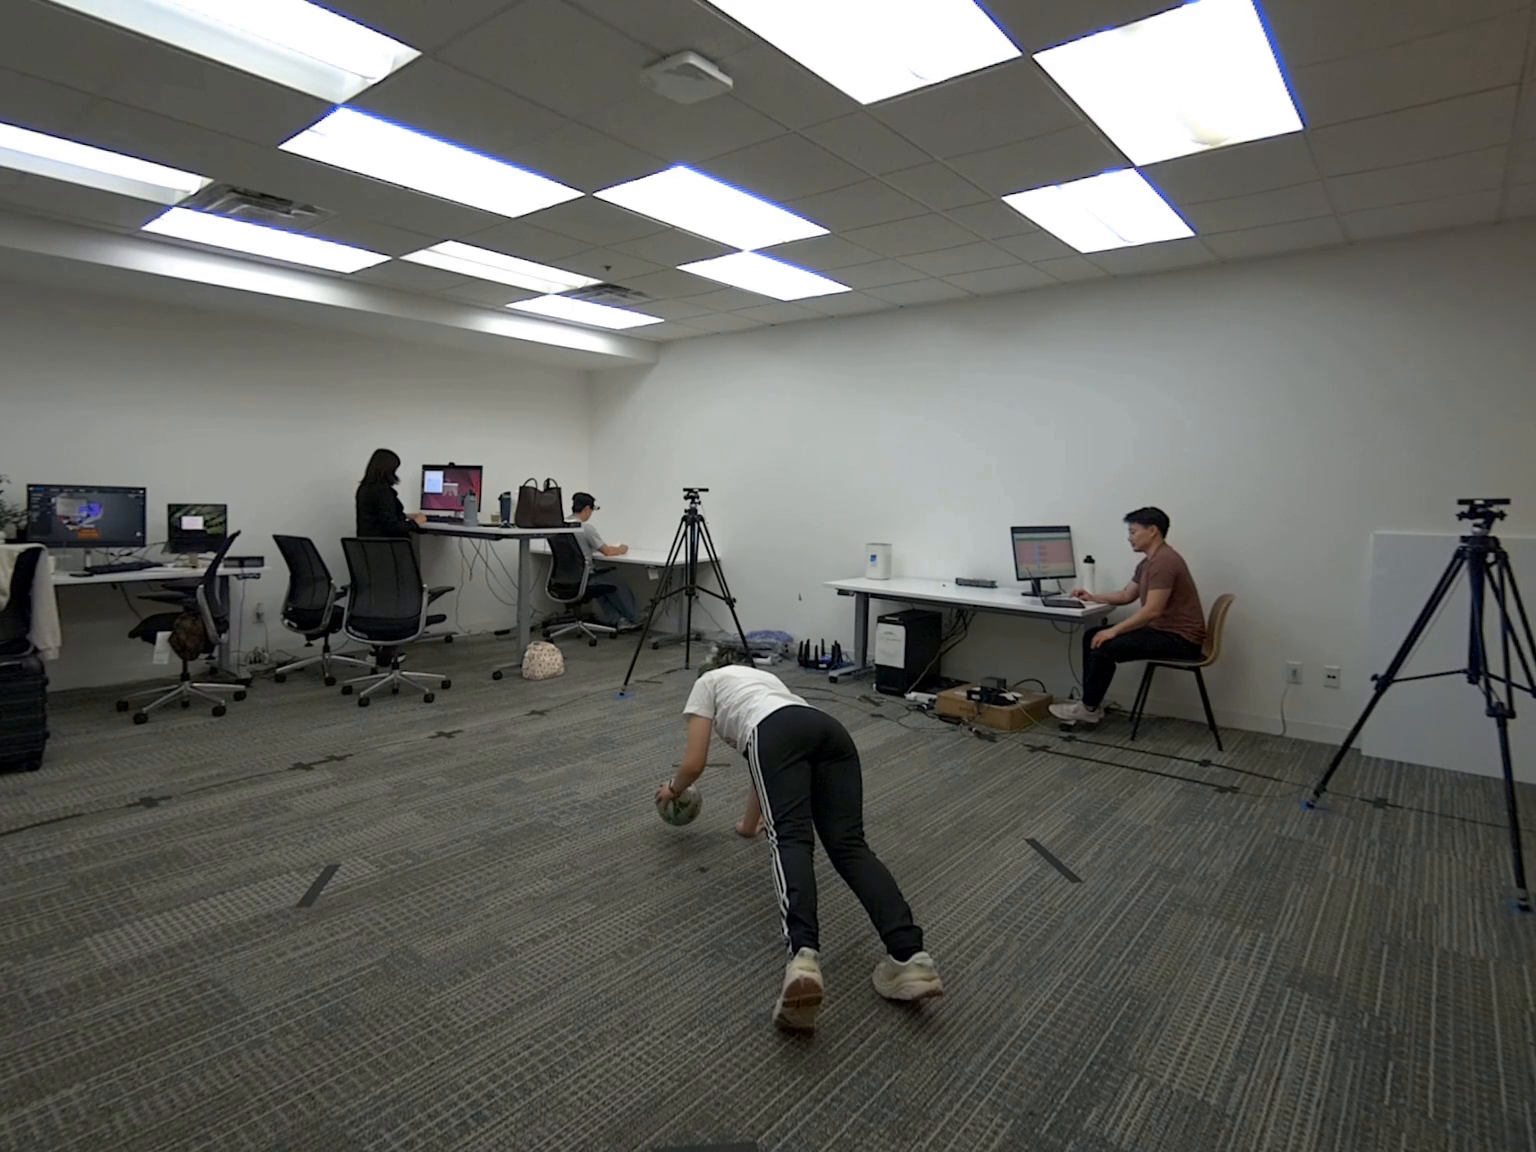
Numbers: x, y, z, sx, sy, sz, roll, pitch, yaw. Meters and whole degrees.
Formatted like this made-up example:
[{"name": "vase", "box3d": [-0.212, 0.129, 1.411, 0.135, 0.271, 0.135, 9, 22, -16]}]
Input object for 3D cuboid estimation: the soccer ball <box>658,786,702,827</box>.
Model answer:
[{"name": "soccer ball", "box3d": [-0.360, 0.900, 3.398, 0.187, 0.187, 0.188, 1, 4, -2]}]
